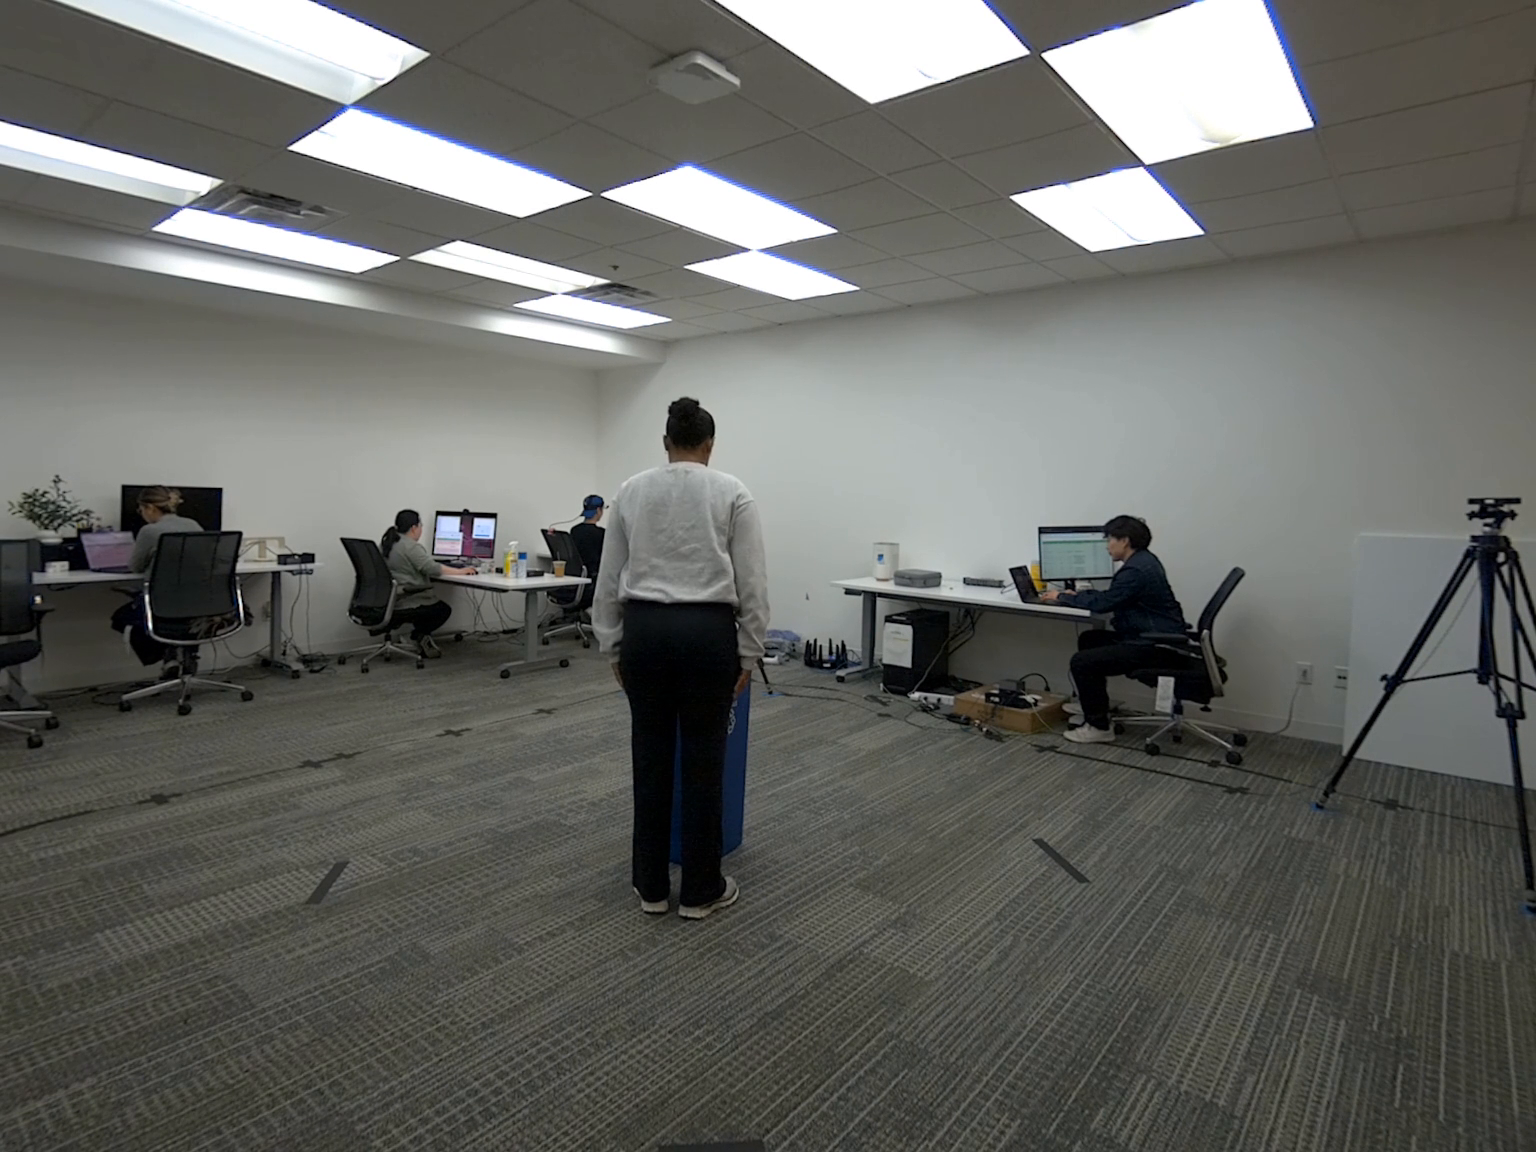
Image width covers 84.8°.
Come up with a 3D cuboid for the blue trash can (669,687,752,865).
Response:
[{"bbox_3d":[-0.294,0.687,3.270,0.385,0.712,0.368,2,3,29],"label":"blue trash can"}]
